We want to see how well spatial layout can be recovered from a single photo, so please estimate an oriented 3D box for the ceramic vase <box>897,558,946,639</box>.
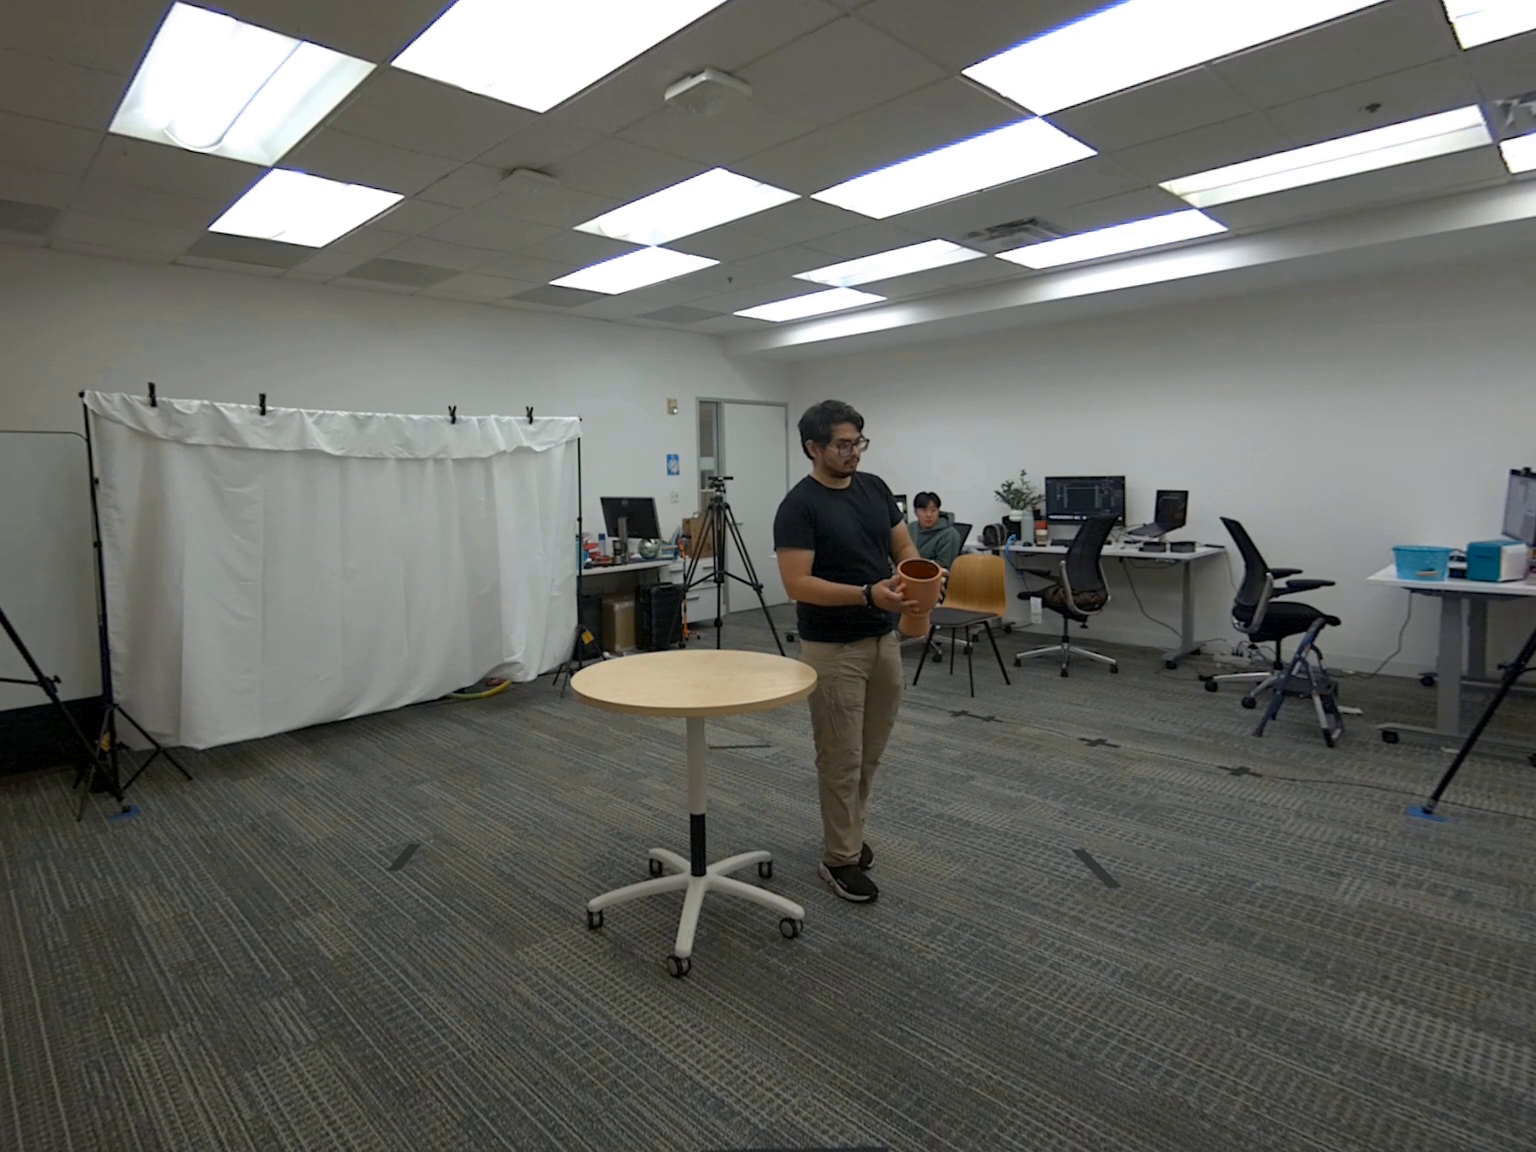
[{"bbox_3d":[0.464,0.076,2.653,0.159,0.214,0.138,-2,31,0],"label":"ceramic vase"}]
